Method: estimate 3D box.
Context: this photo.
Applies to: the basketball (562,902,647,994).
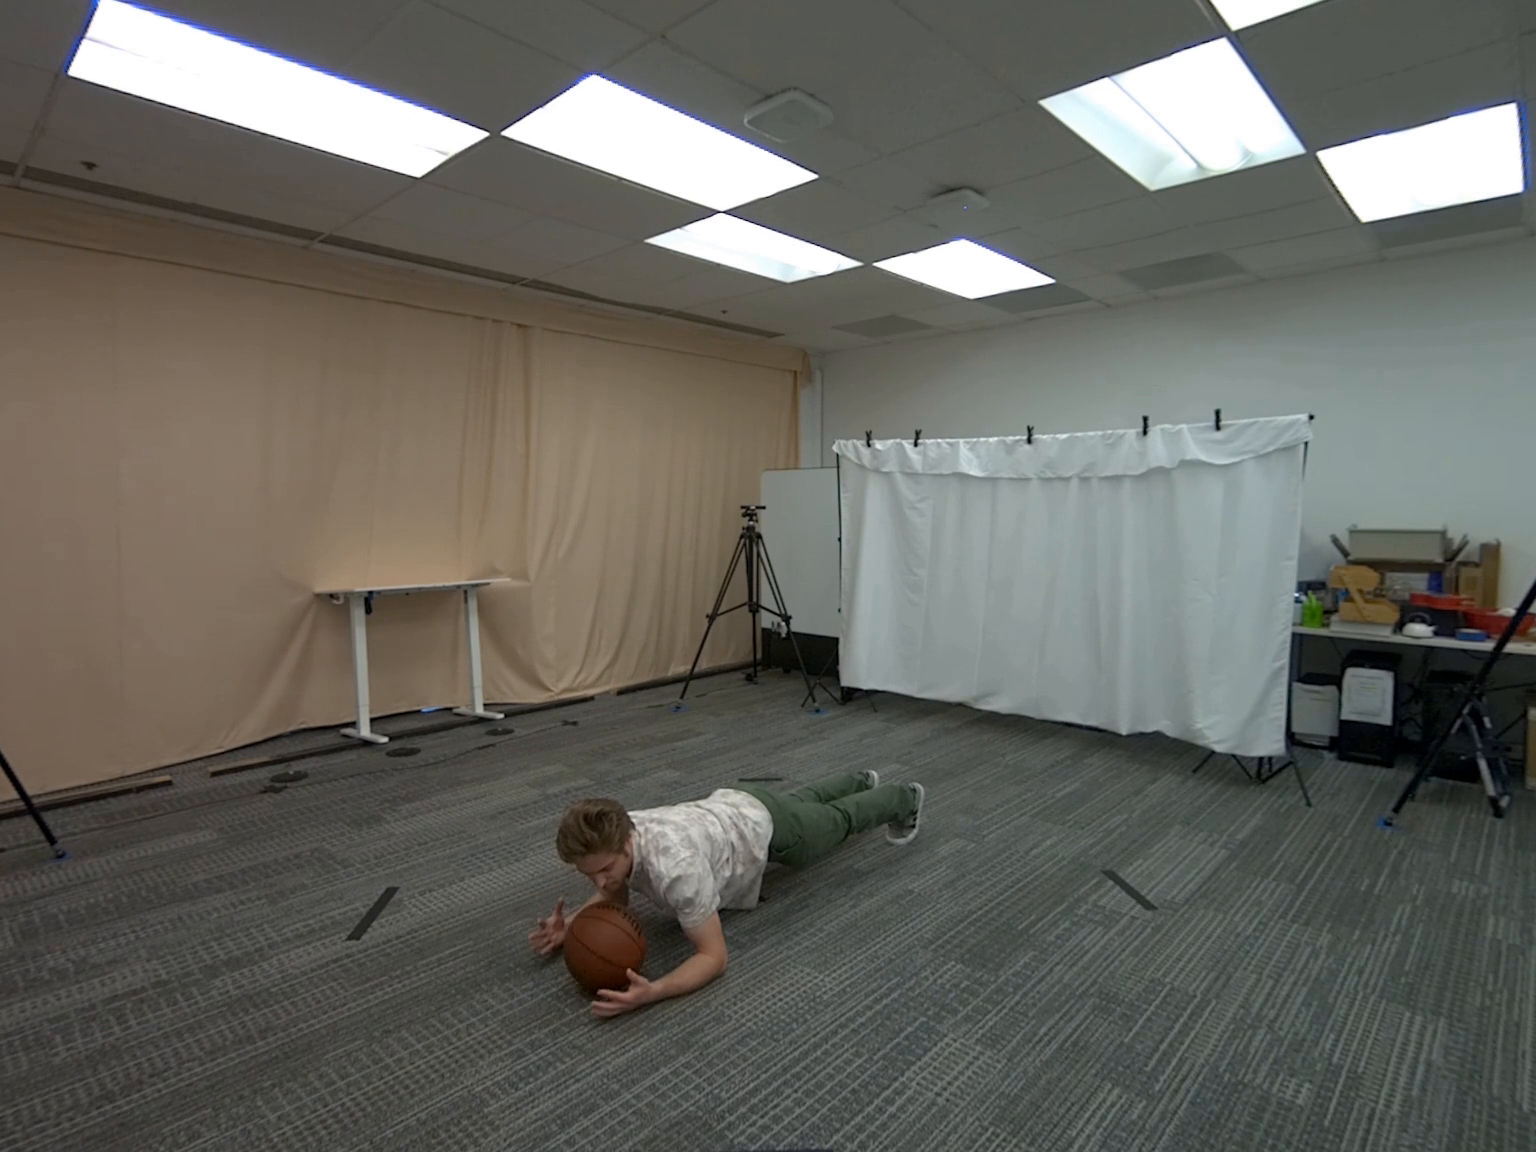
[{"bbox_3d":[-0.475,1.069,2.451,0.236,0.235,0.237,0,4,-2],"label":"basketball"}]
